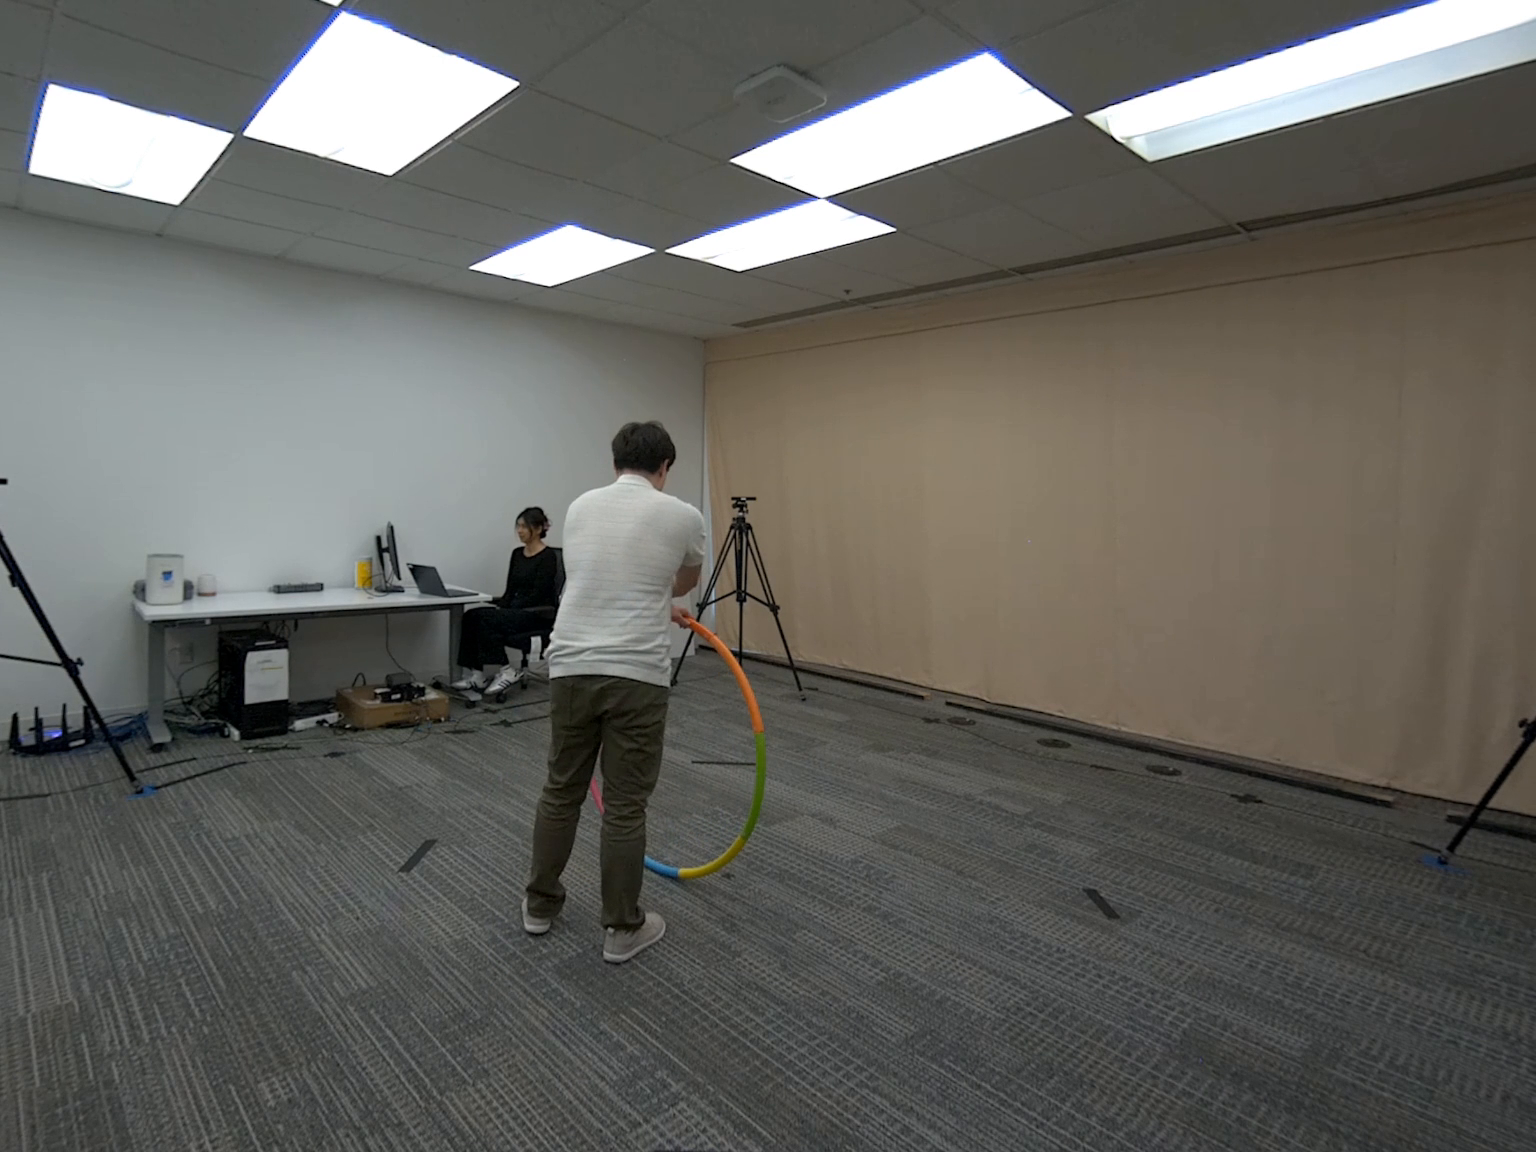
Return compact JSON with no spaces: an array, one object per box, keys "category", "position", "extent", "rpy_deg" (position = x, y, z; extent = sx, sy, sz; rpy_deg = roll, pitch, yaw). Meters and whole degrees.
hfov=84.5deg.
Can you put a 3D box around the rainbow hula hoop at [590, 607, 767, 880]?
[{"category":"rainbow hula hoop","position":[-0.398,0.618,3.124],"extent":[1.004,0.977,0.035],"rpy_deg":[5,2,42]}]
